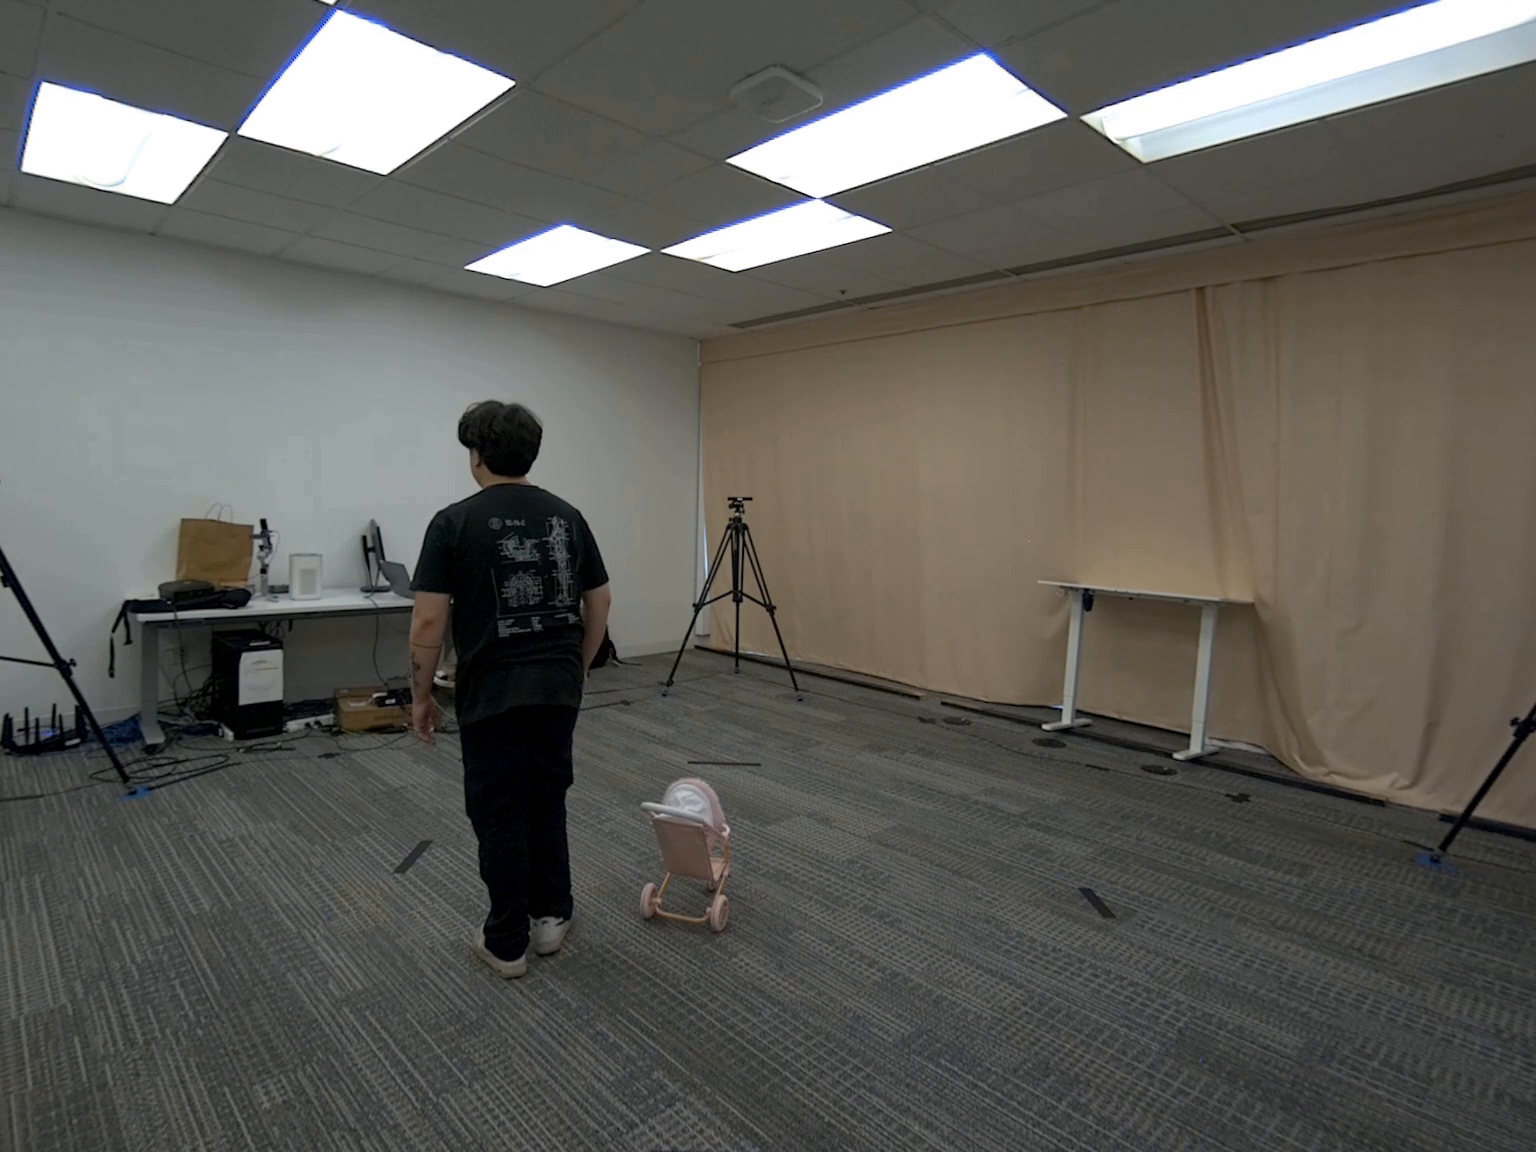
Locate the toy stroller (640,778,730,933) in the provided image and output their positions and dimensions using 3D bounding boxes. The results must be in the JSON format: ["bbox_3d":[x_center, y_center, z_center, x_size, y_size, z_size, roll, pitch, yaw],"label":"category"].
[{"bbox_3d":[-0.254,0.908,2.801,0.286,0.528,0.340,4,19,21],"label":"toy stroller"}]
